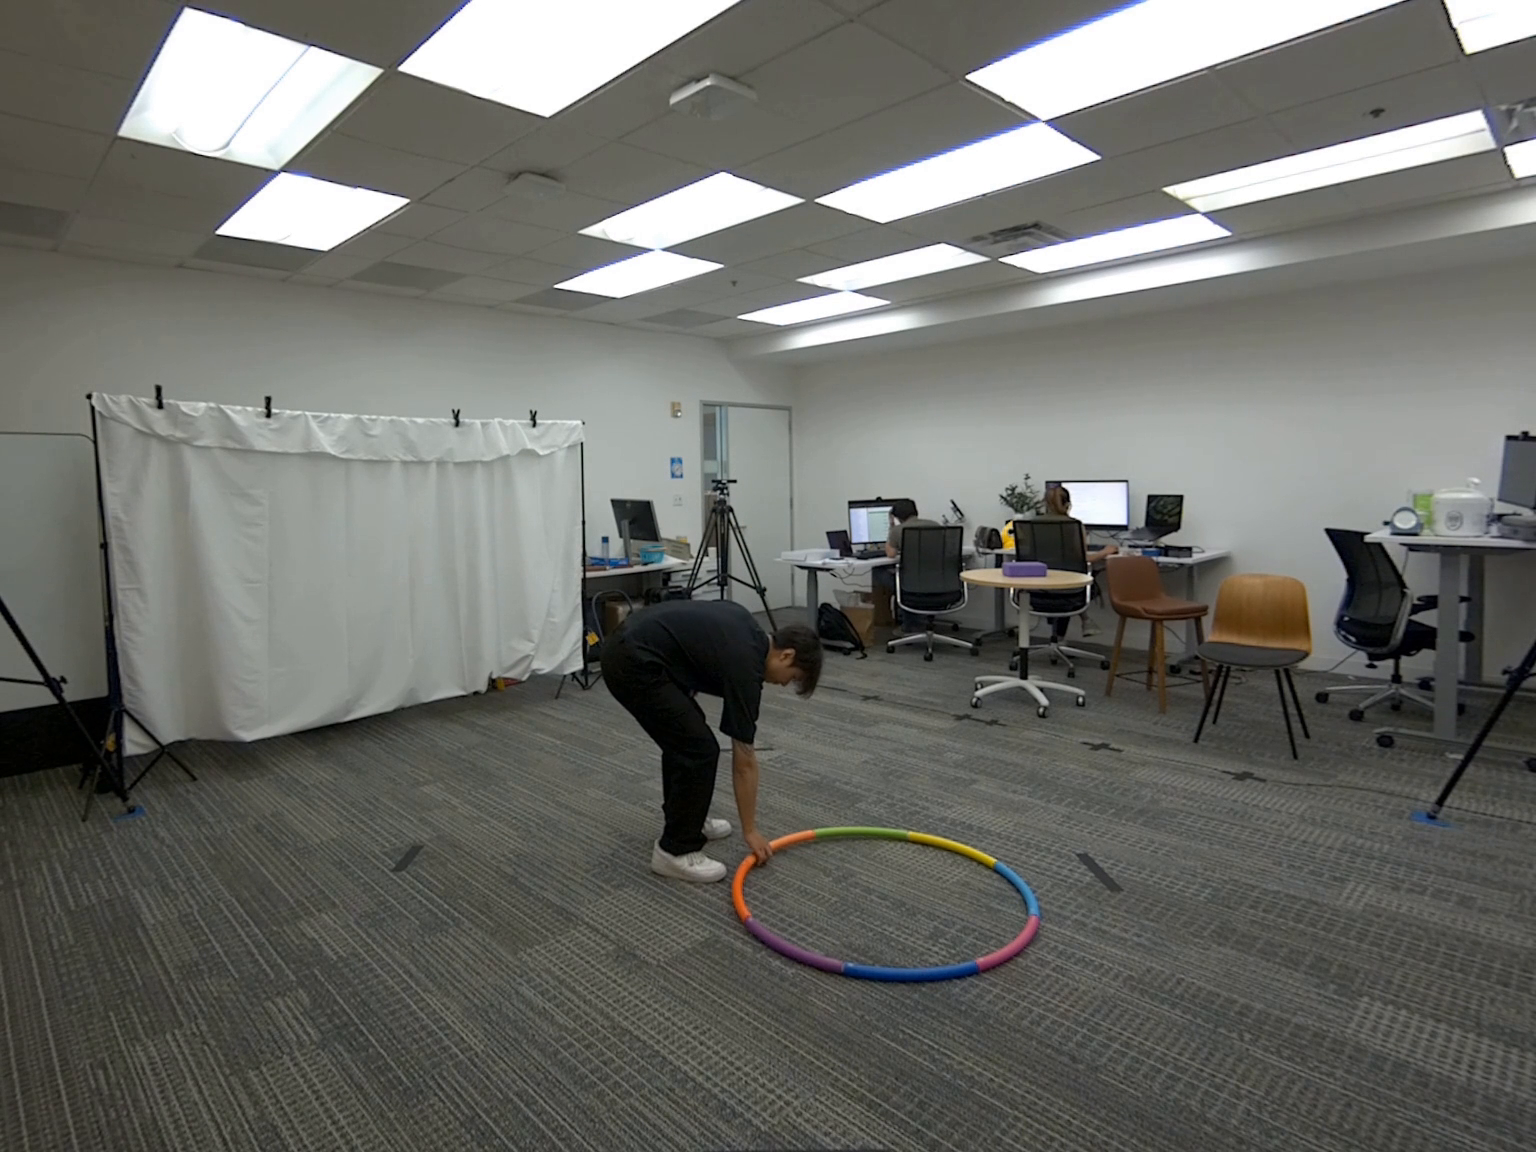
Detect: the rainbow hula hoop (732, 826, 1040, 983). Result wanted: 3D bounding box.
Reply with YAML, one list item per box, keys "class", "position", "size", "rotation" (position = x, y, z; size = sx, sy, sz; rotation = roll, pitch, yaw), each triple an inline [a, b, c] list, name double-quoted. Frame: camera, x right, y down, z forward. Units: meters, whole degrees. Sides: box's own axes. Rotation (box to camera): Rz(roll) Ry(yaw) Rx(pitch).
- class: "rainbow hula hoop"
  position: [0.372, 1.036, 2.845]
  size: [0.978, 0.035, 0.985]
  rotation: [-1, 7, -2]
